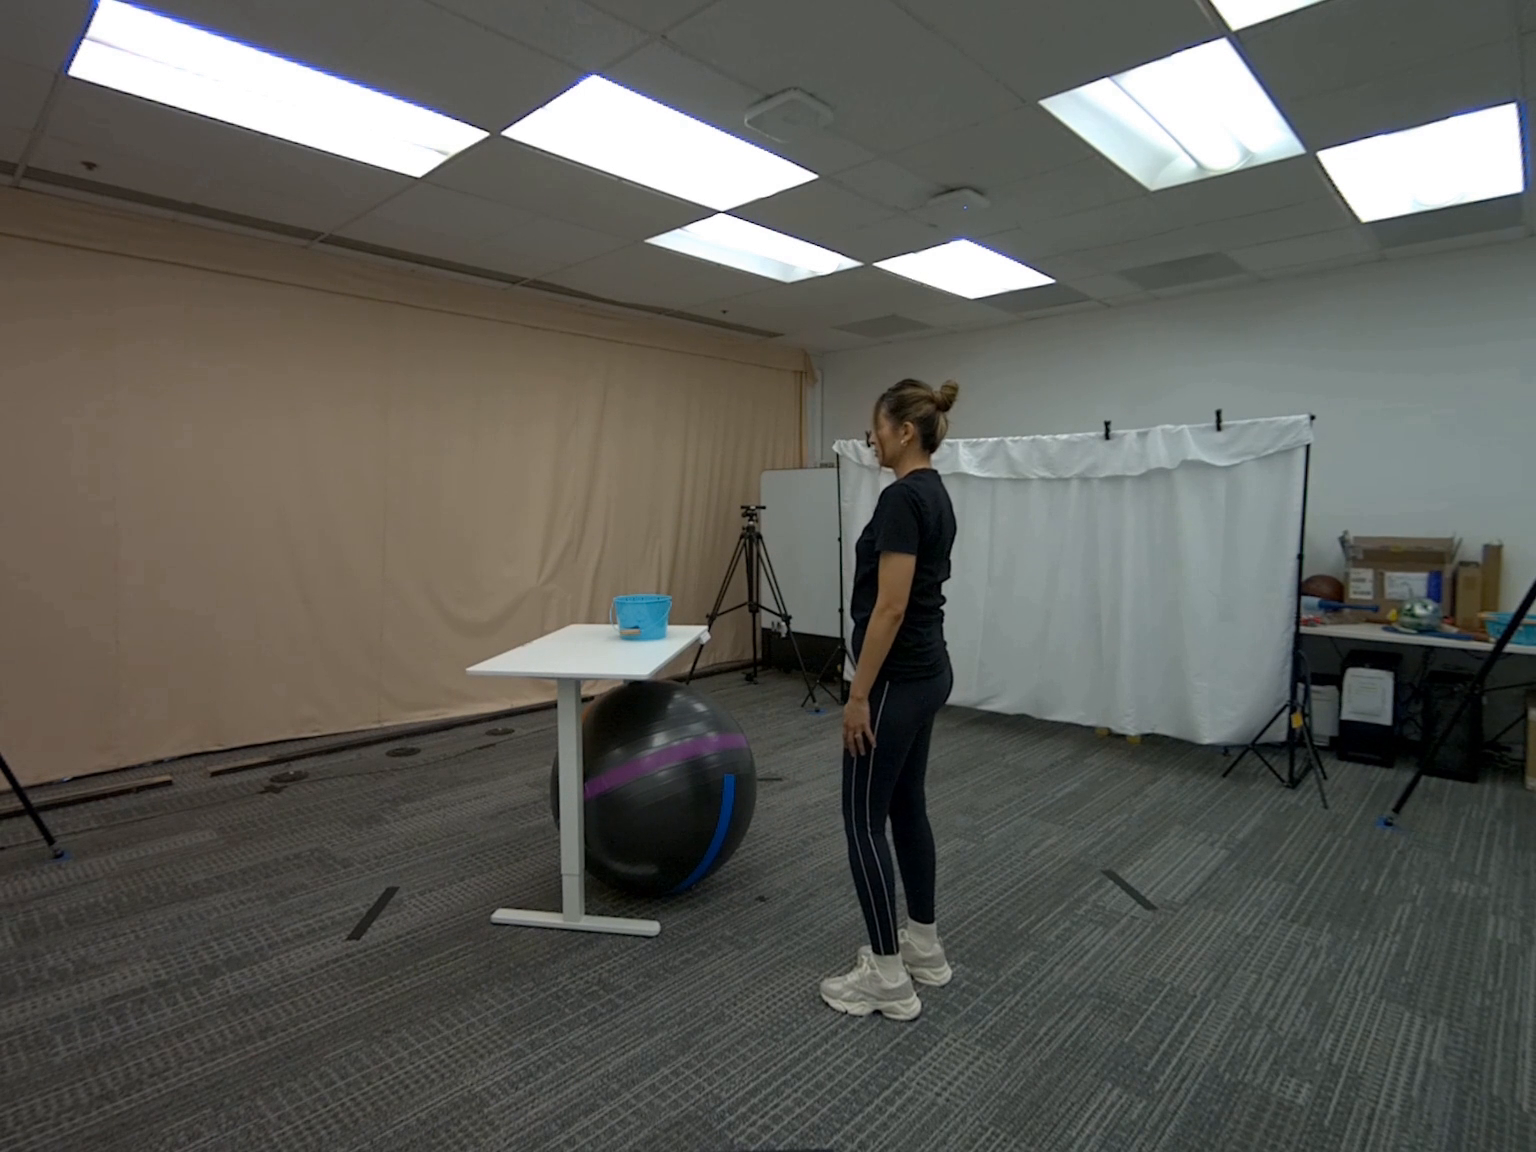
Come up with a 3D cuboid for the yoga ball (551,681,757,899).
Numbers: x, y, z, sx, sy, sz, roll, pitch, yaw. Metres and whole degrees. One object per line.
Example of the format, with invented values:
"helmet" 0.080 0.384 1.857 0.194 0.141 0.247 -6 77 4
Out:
"yoga ball" -0.428 0.786 3.107 0.757 0.756 0.761 0 4 -2
